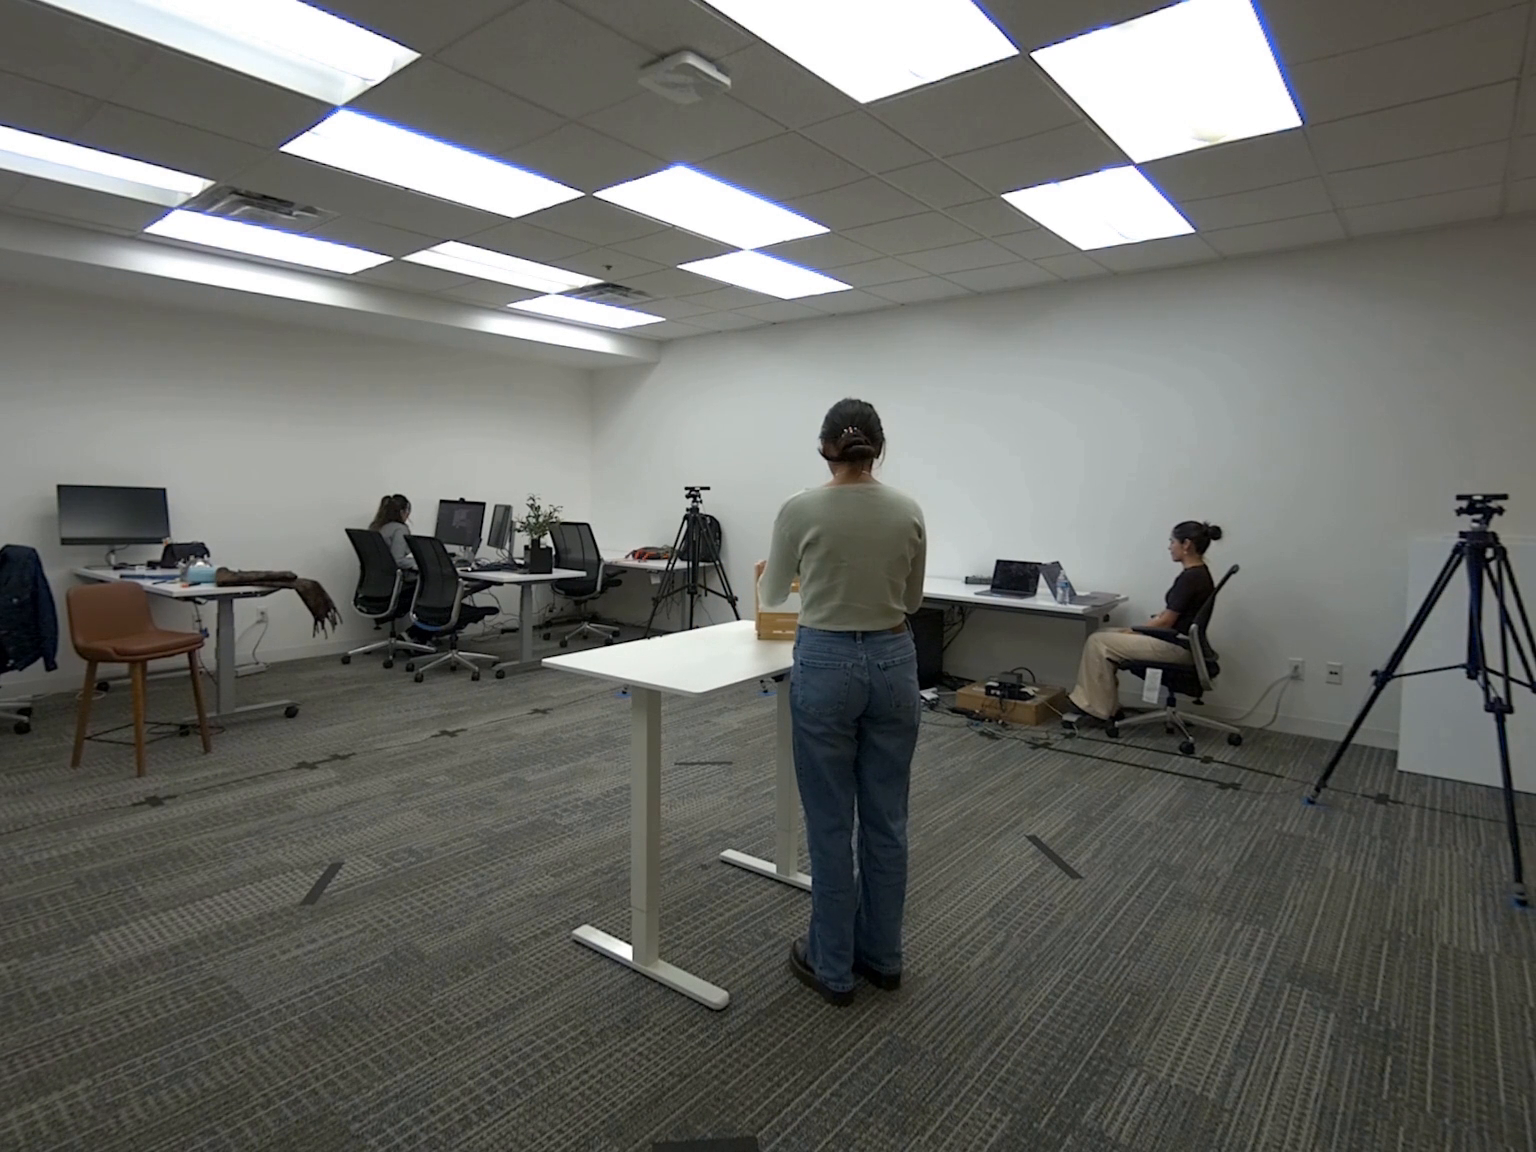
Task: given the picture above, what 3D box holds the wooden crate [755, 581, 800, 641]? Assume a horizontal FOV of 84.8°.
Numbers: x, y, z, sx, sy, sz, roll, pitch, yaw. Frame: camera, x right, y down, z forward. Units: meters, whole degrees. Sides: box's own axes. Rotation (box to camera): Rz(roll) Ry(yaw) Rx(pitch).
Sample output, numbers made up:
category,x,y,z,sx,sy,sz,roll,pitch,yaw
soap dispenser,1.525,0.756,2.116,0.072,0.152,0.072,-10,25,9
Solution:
category,x,y,z,sx,sy,sz,roll,pitch,yaw
wooden crate,0.110,0.070,2.922,0.326,0.272,0.302,1,5,3
